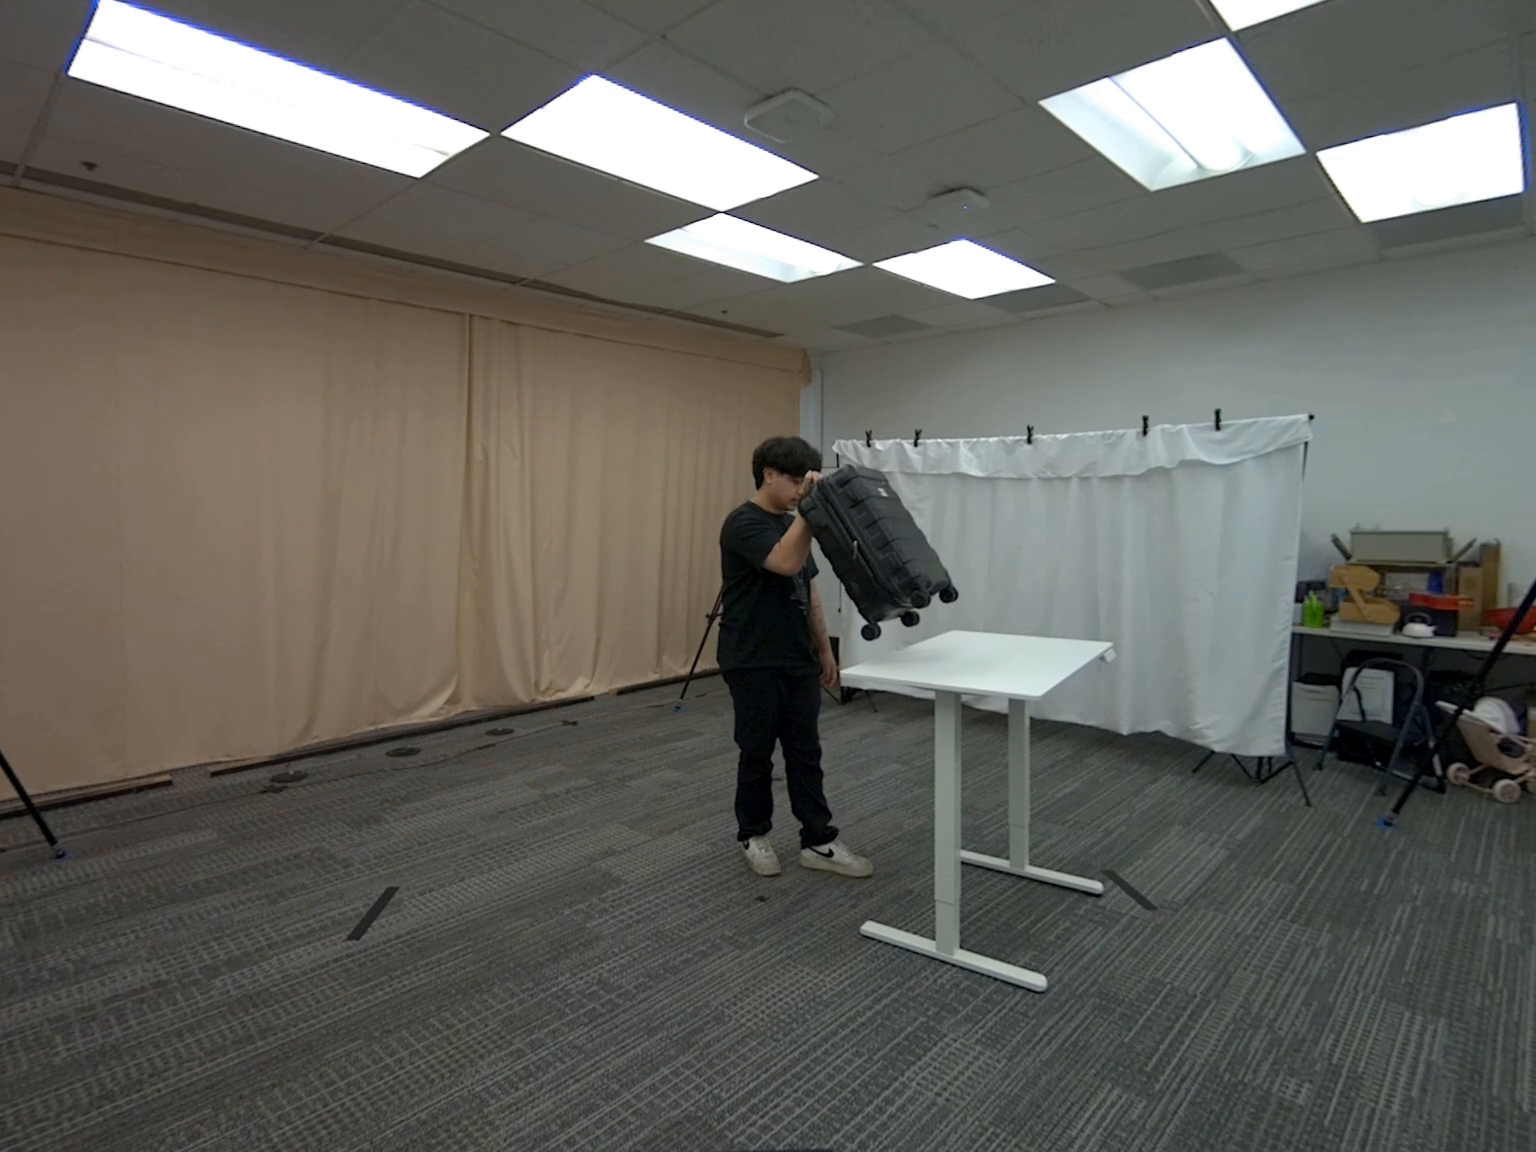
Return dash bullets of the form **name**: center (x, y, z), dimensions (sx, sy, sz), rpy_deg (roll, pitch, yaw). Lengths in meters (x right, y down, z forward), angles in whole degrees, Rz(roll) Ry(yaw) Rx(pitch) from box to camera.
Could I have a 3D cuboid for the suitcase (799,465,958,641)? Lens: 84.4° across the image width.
- **suitcase**: center (0.374, -0.096, 2.810), dimensions (0.251, 0.558, 0.365), rpy_deg (-37, -15, 24)
